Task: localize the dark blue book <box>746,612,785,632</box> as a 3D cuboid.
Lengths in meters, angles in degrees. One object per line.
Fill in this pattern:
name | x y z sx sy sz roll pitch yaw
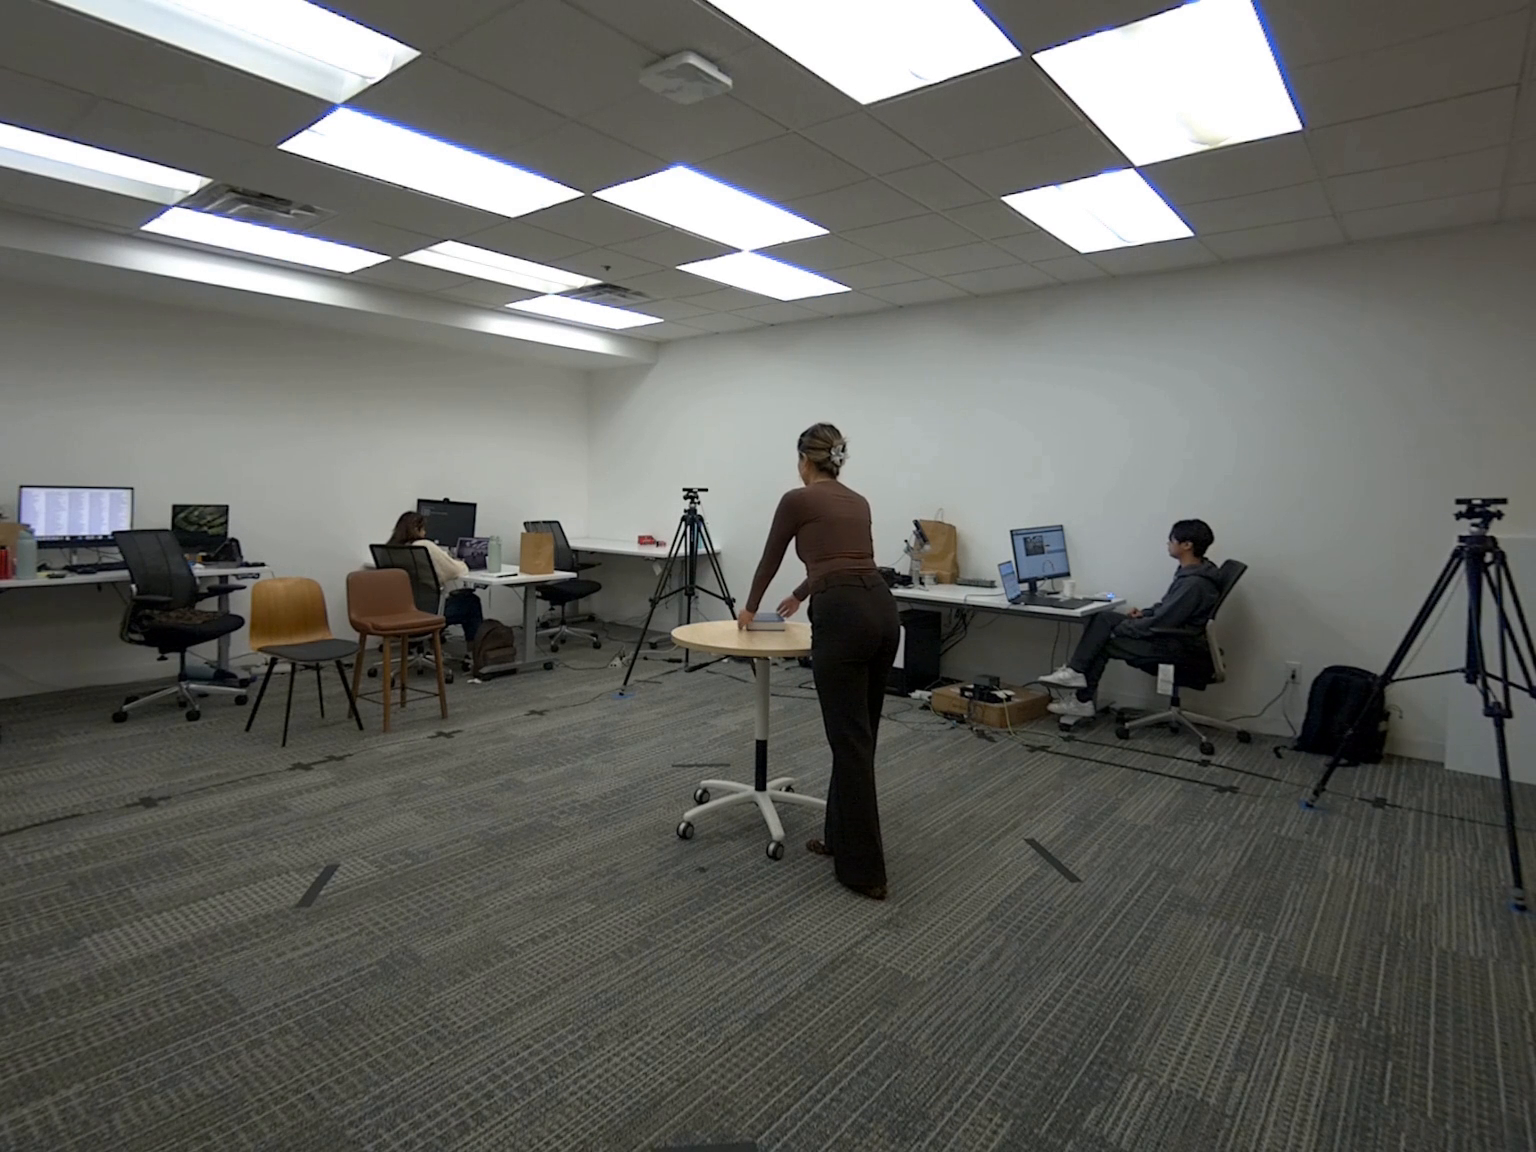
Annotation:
dark blue book | -0.030 0.194 3.731 0.163 0.045 0.247 1 6 -3
